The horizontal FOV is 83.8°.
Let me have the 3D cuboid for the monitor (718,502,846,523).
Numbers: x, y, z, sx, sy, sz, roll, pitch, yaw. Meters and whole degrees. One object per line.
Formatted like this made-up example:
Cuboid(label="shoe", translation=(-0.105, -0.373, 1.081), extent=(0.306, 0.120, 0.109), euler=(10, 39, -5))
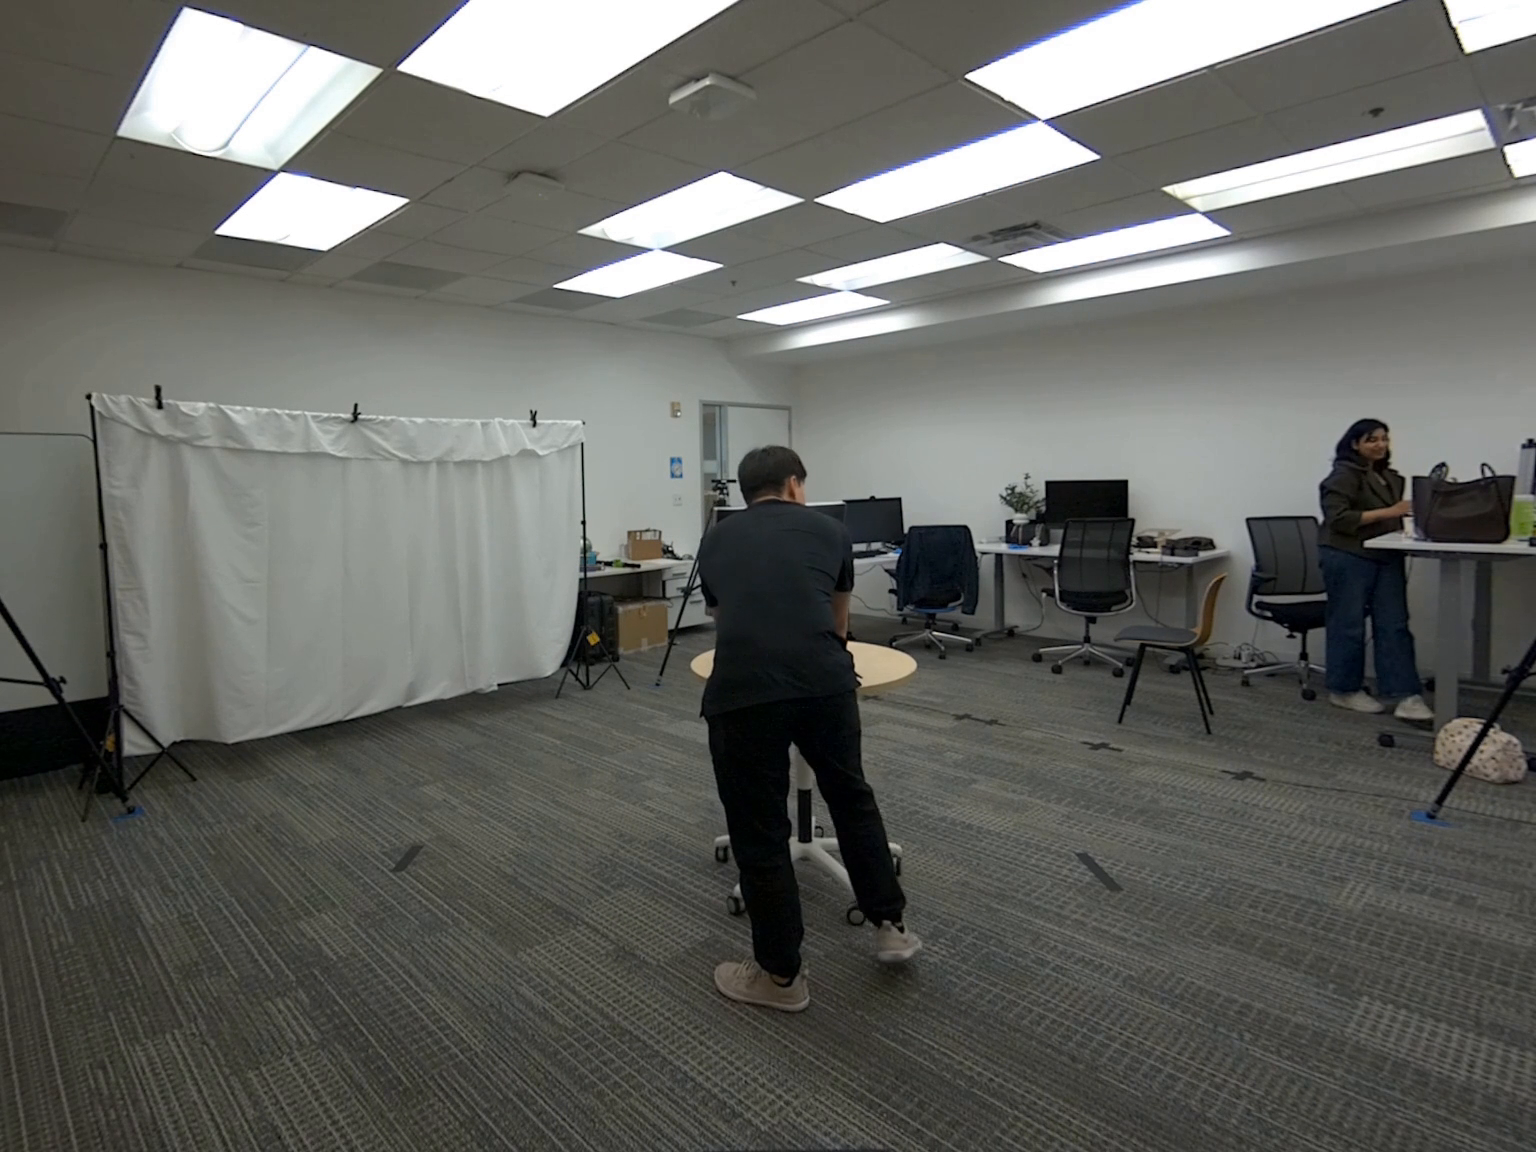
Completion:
Cuboid(label="monitor", translation=(0.068, 0.026, 2.913), extent=(0.525, 0.522, 0.192), euler=(-4, 3, -37))
